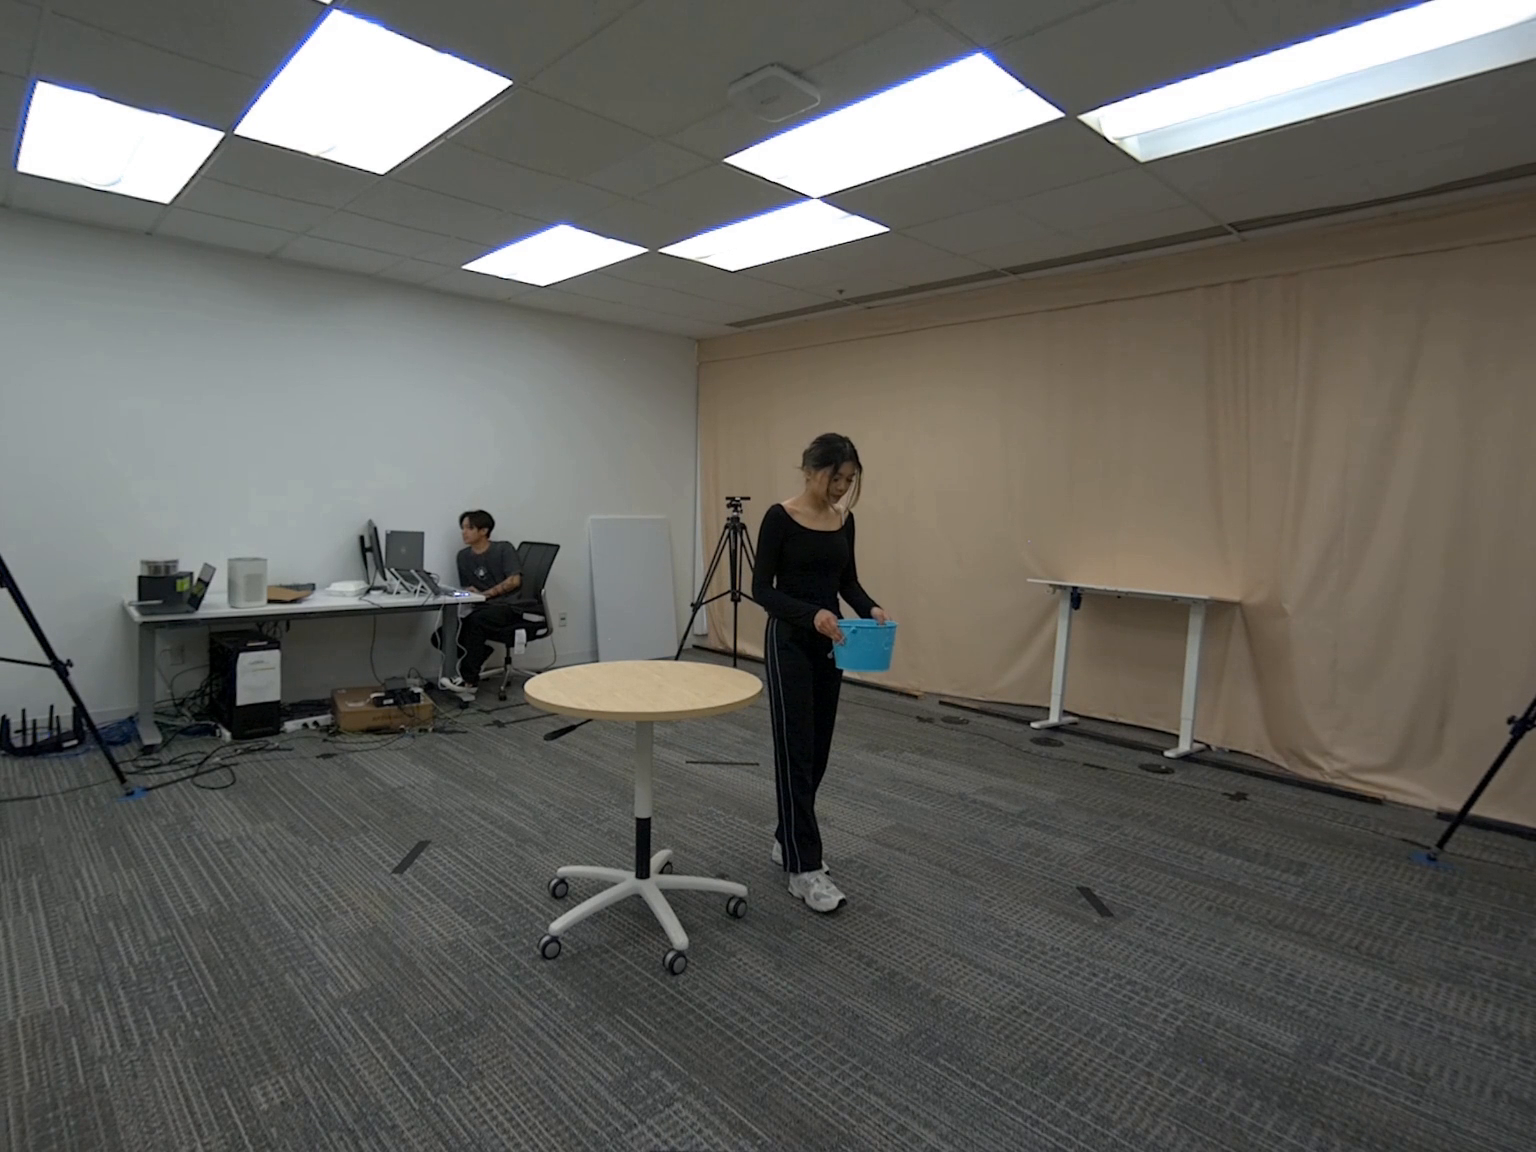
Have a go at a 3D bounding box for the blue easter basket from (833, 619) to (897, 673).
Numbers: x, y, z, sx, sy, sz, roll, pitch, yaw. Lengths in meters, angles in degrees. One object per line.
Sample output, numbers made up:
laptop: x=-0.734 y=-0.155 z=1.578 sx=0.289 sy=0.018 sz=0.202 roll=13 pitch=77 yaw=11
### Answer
blue easter basket: x=0.304 y=0.240 z=2.855 sx=0.243 sy=0.155 sz=0.244 roll=1 pitch=3 yaw=-1
